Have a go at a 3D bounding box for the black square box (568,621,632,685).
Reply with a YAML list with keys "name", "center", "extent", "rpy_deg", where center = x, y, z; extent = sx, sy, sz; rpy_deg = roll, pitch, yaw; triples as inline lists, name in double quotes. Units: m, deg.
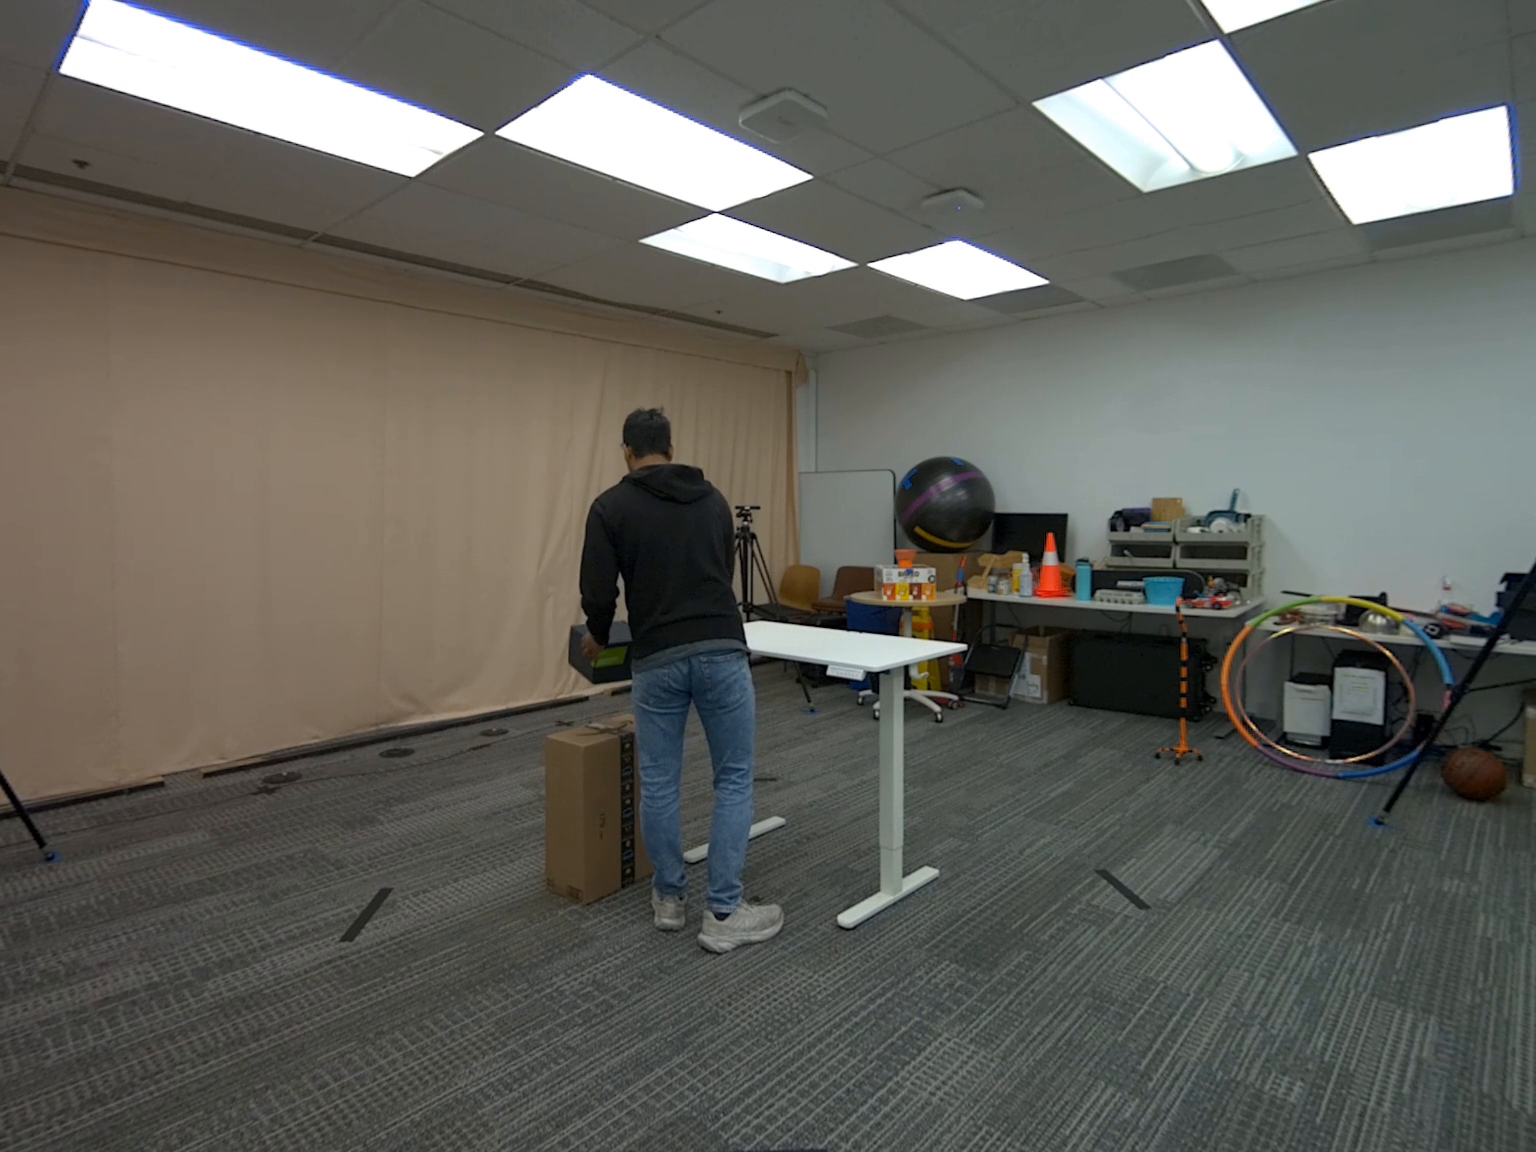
- name: "black square box"
  center: [-0.585, 0.282, 3.174]
  extent: [0.221, 0.155, 0.225]
  rpy_deg: [-4, 18, -37]
